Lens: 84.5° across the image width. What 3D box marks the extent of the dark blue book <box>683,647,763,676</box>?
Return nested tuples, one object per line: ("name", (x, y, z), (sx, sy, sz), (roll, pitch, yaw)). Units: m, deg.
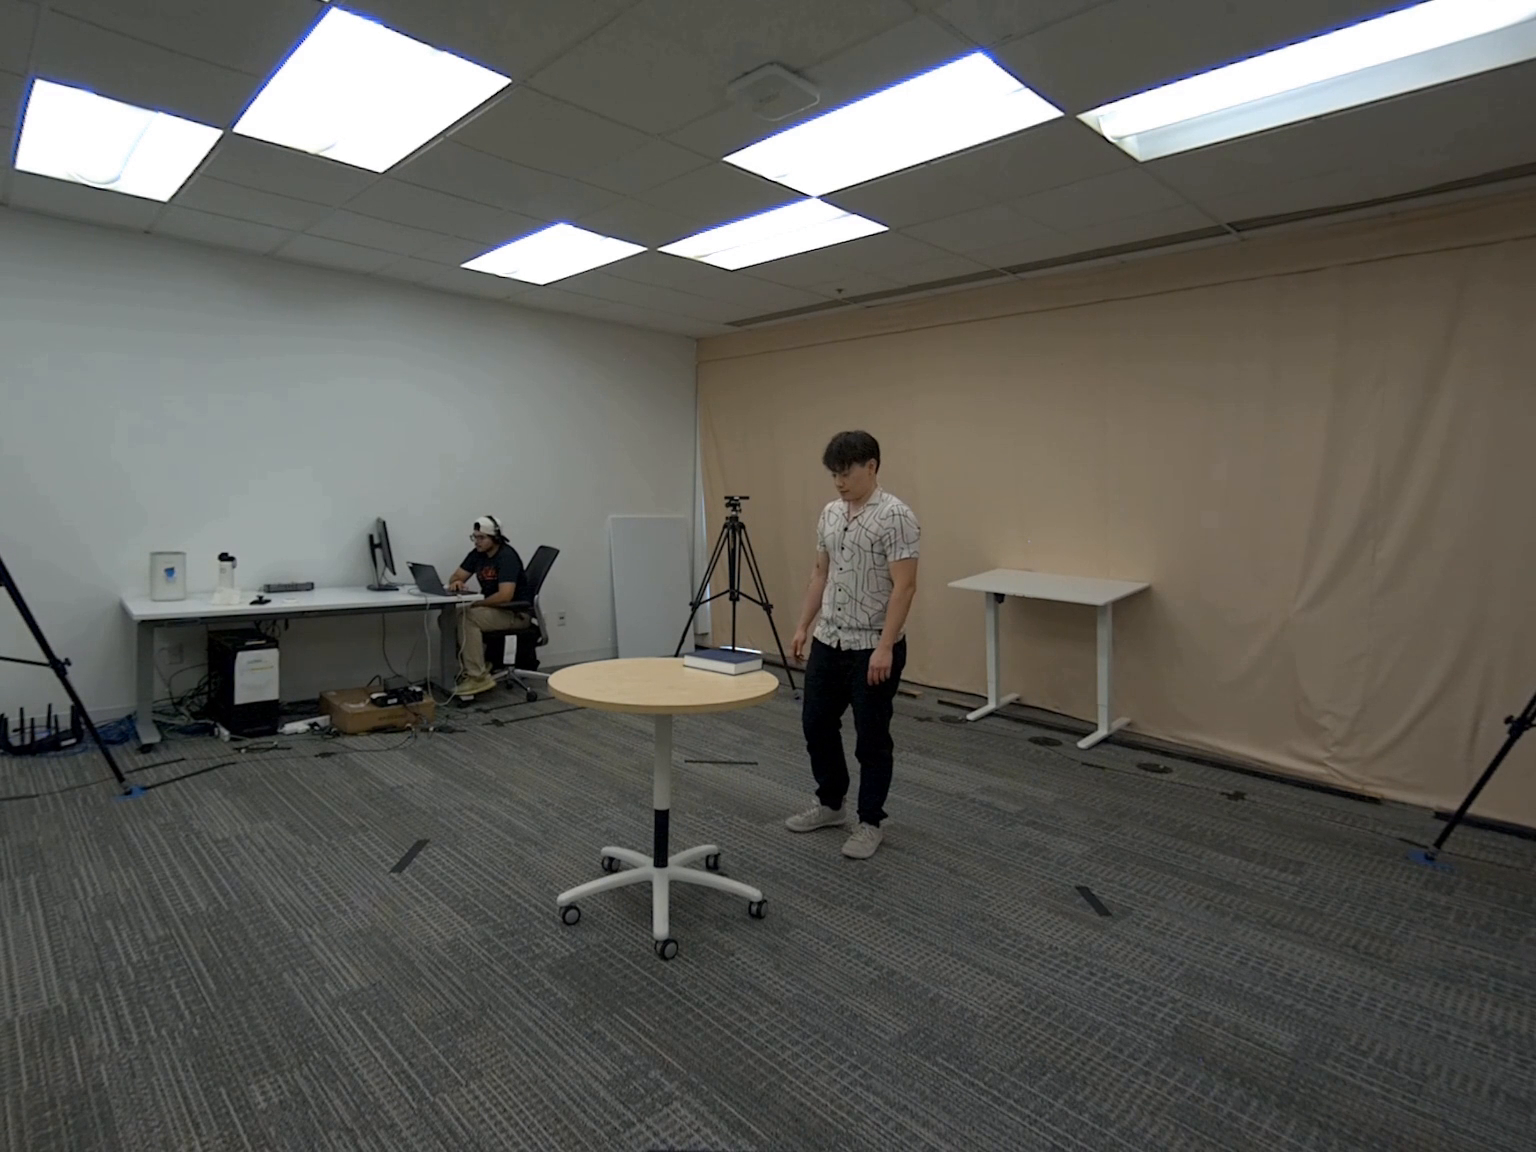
("dark blue book", (-0.168, 0.310, 3.031), (0.251, 0.045, 0.160), (5, 6, 38))
